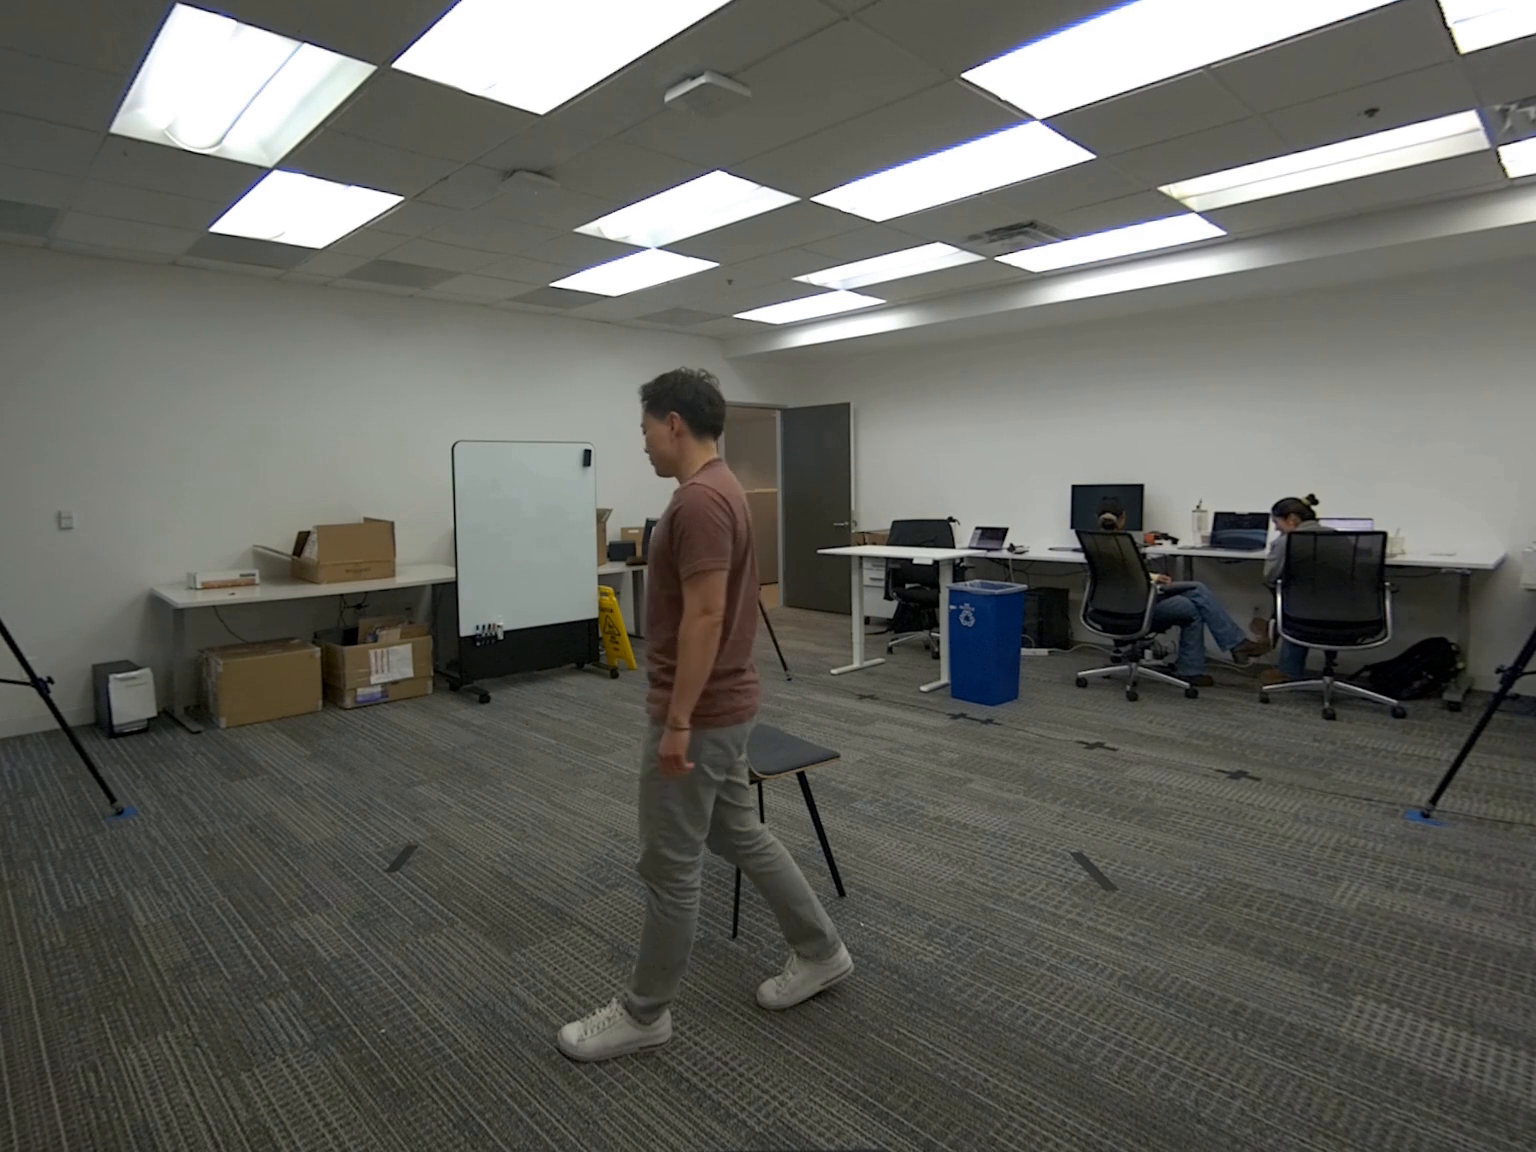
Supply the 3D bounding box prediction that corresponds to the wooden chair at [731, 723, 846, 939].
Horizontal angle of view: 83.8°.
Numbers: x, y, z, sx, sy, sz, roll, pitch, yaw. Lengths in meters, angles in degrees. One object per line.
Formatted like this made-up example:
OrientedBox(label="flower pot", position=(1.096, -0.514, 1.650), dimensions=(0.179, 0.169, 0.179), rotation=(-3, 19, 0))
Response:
OrientedBox(label="wooden chair", position=(-0.054, 0.645, 2.875), dimensions=(0.511, 0.872, 0.492), rotation=(-9, 8, -35))
